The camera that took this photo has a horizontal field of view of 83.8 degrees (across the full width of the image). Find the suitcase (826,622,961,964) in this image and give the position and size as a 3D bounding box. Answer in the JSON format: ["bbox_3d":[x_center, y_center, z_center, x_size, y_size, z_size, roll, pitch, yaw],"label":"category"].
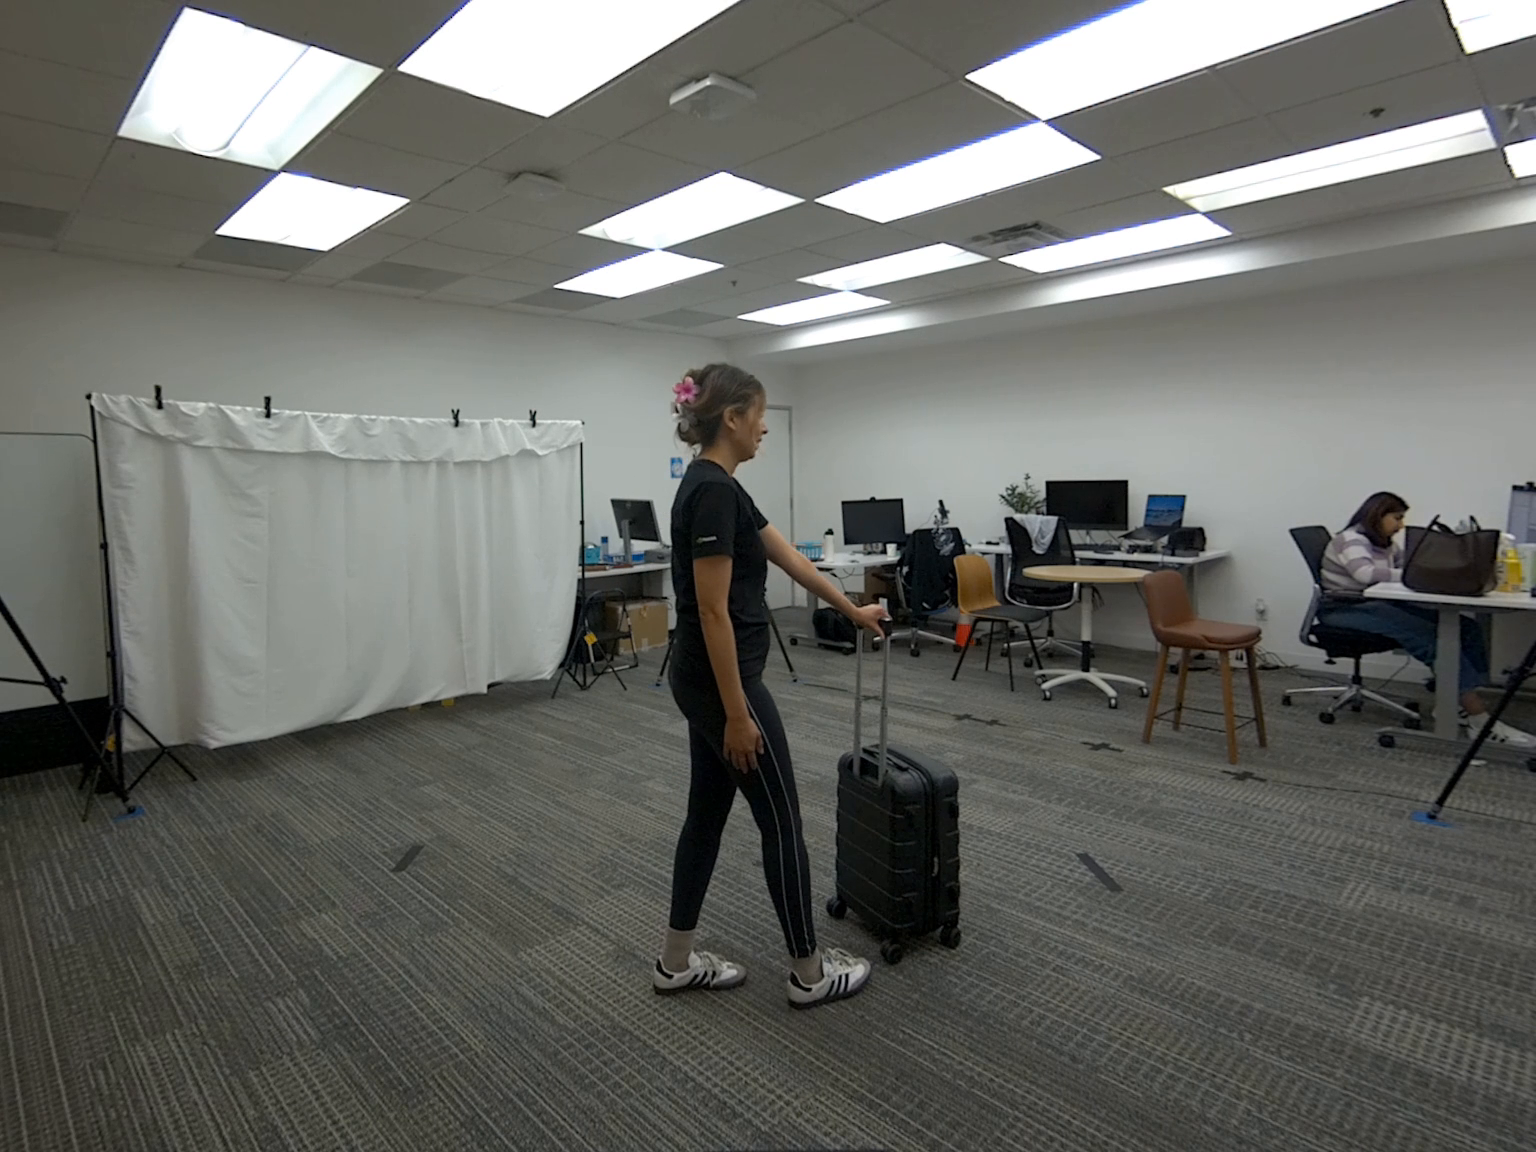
[{"bbox_3d":[0.406,0.616,2.631,0.251,0.976,0.393,1,3,-25],"label":"suitcase"}]
